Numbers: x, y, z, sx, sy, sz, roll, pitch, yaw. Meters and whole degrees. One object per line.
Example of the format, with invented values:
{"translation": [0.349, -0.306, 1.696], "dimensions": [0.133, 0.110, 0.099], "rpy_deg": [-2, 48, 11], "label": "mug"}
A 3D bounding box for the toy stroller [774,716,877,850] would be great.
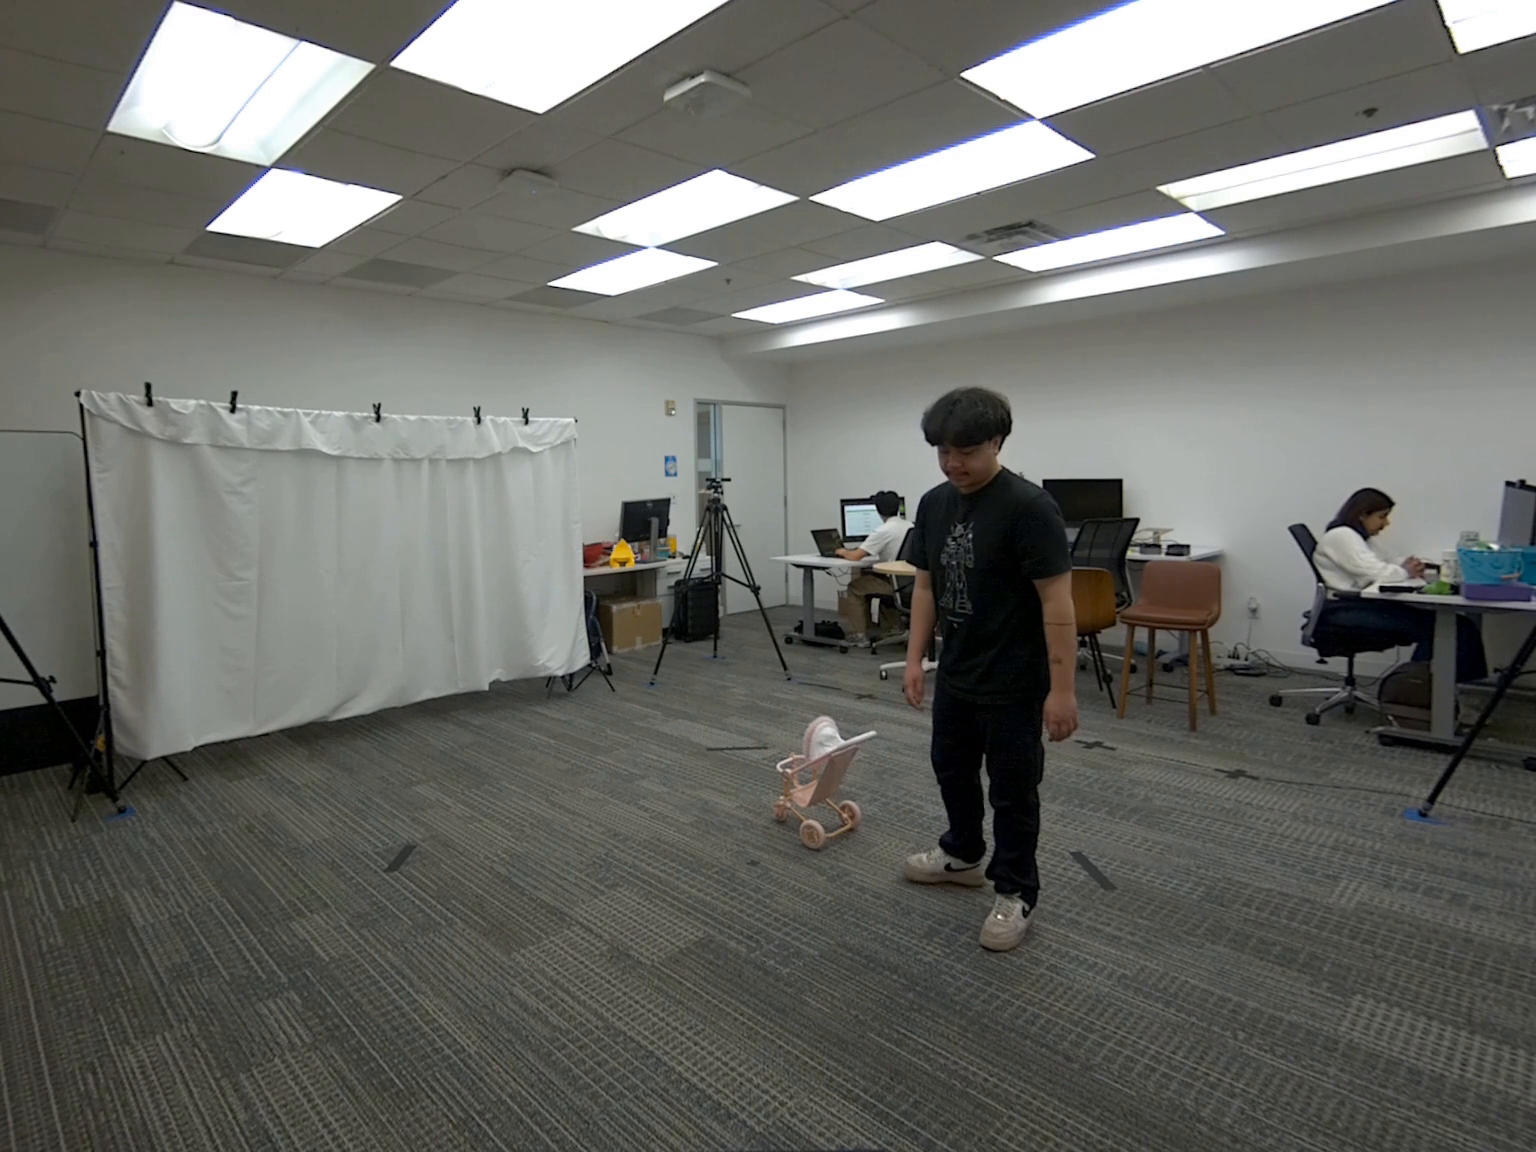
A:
{"translation": [0.197, 0.784, 3.339], "dimensions": [0.274, 0.529, 0.354], "rpy_deg": [-5, 21, -45], "label": "toy stroller"}
